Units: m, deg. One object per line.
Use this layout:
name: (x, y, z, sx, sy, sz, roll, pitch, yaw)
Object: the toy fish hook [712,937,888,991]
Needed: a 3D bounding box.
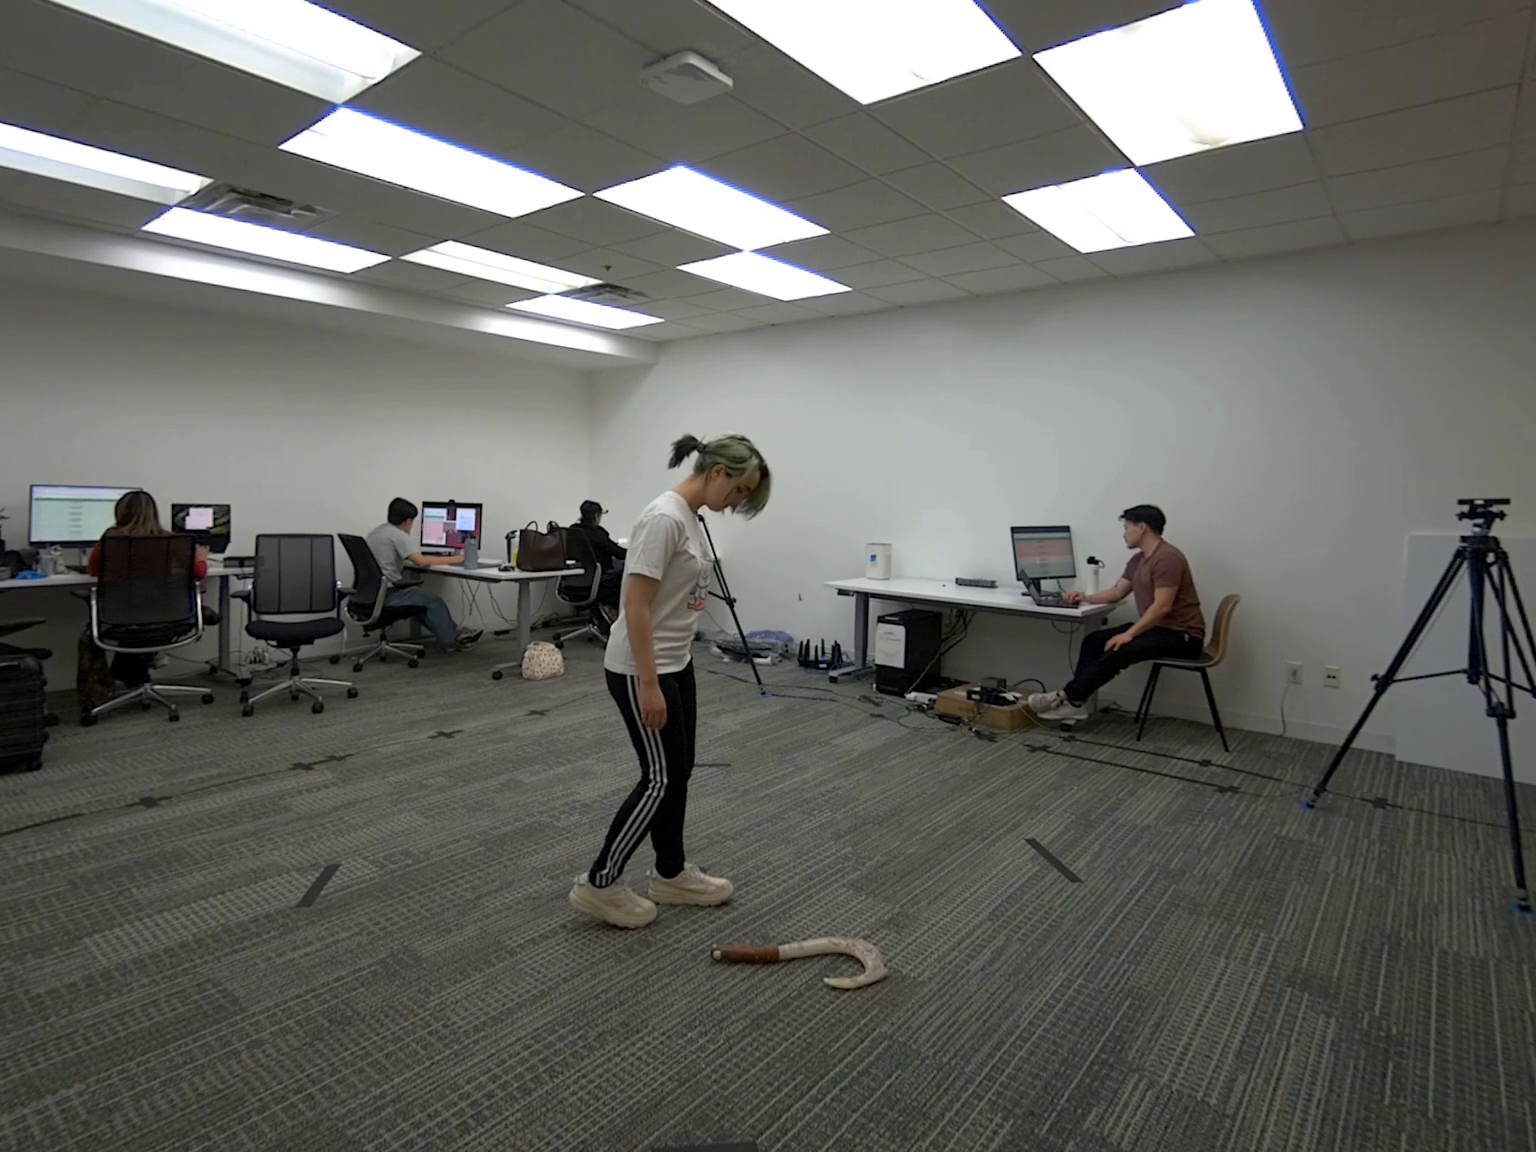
toy fish hook: (0.083, 1.114, 2.469, 0.504, 0.048, 0.226, 1, 5, -5)
